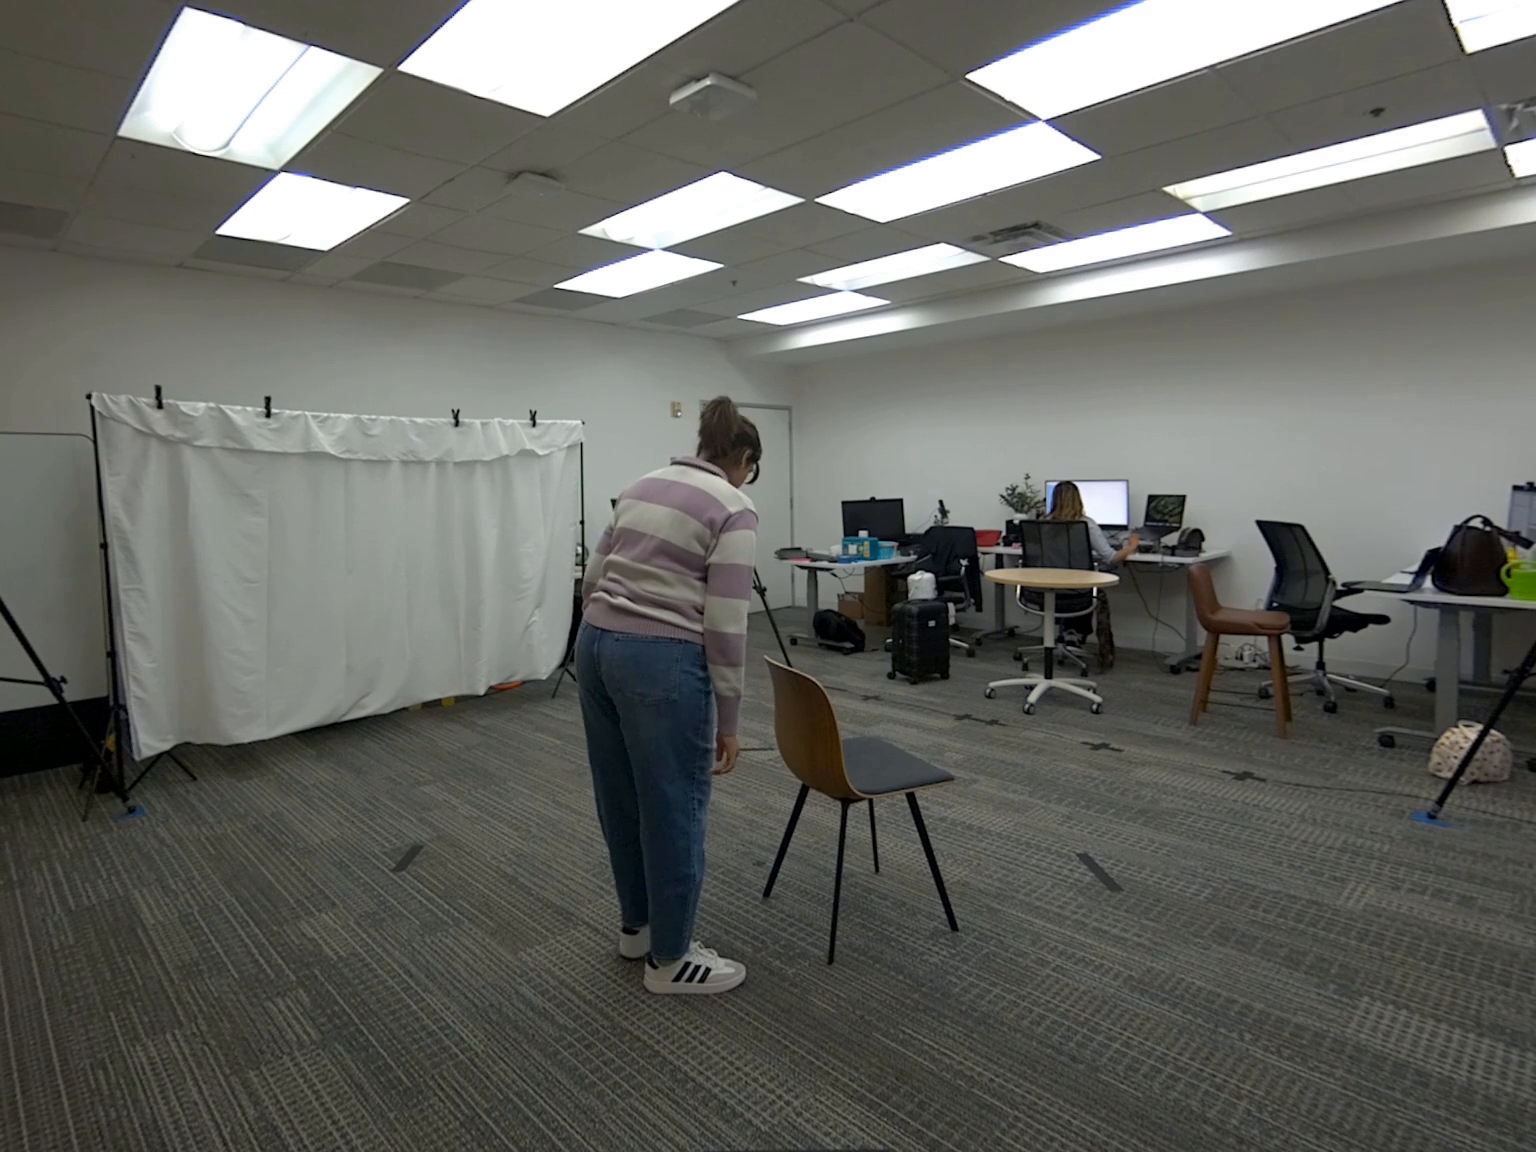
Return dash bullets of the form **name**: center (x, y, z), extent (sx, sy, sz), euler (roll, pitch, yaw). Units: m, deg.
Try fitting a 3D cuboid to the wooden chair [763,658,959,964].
- **wooden chair**: center (0.288, 0.659, 2.714), extent (0.513, 0.872, 0.490), euler (-7, 6, -24)
